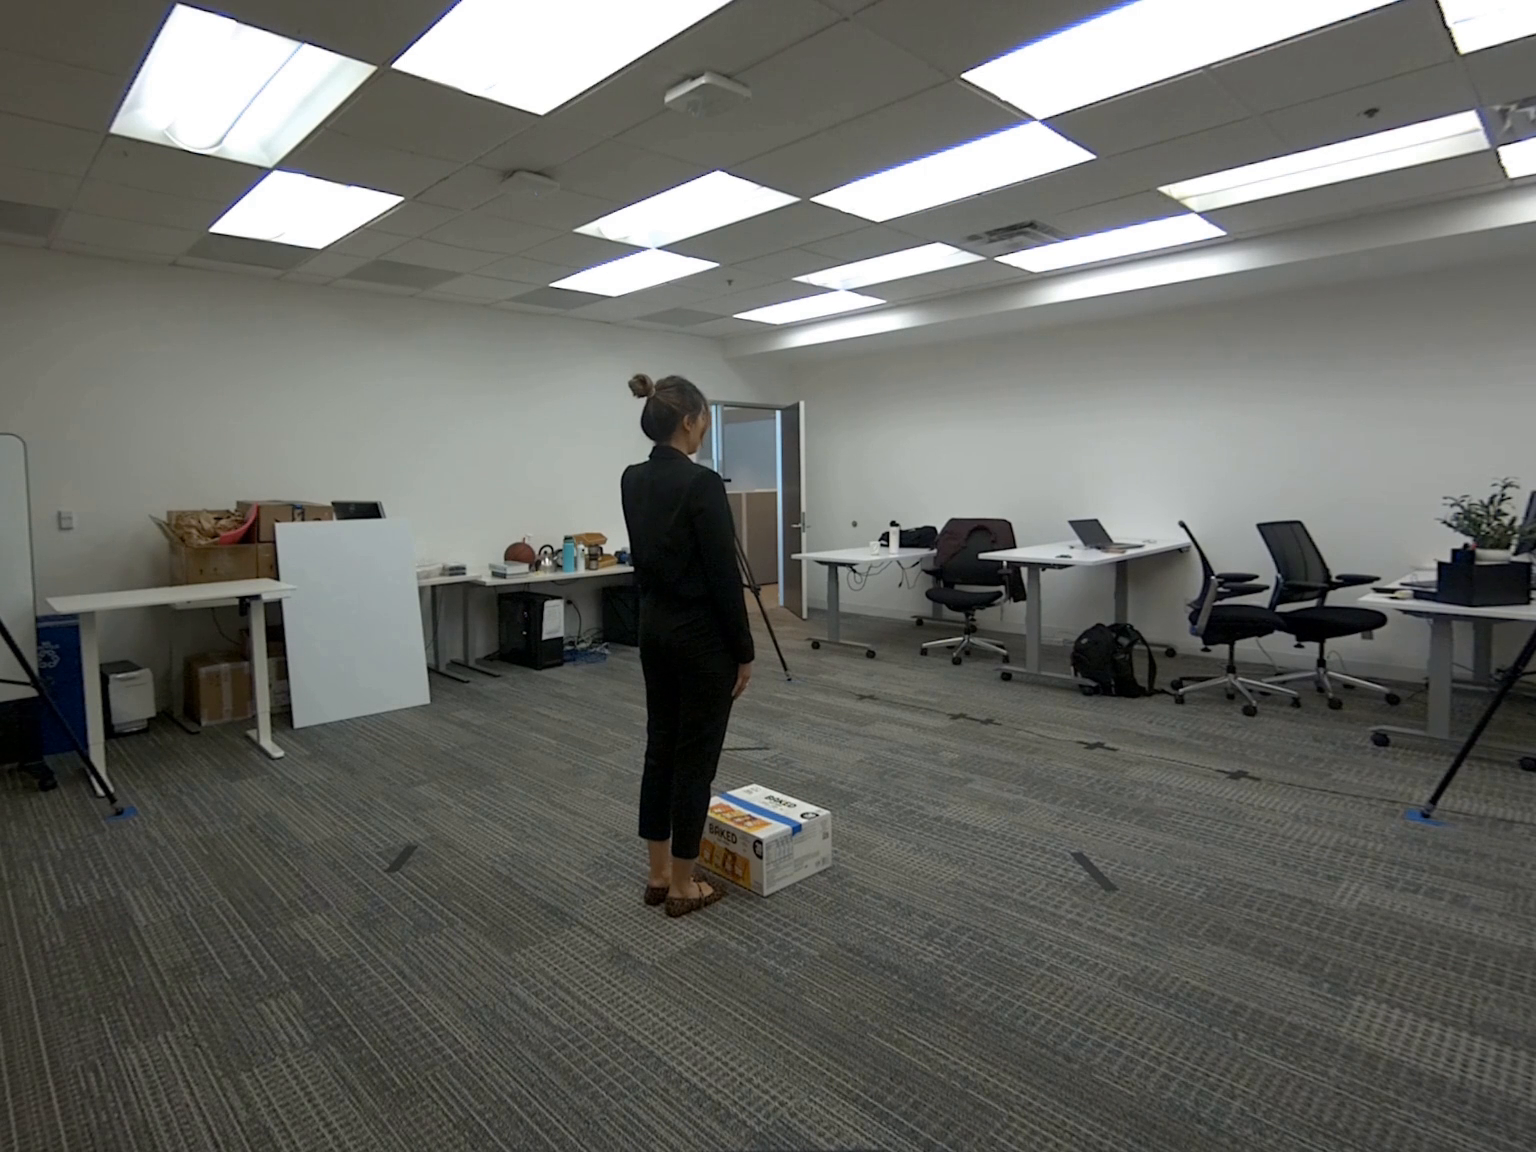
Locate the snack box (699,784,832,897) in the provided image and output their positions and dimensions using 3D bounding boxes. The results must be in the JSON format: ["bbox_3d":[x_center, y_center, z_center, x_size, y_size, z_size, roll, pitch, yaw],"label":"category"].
[{"bbox_3d":[-0.030,0.944,3.100,0.331,0.205,0.418,-6,8,-43],"label":"snack box"}]
